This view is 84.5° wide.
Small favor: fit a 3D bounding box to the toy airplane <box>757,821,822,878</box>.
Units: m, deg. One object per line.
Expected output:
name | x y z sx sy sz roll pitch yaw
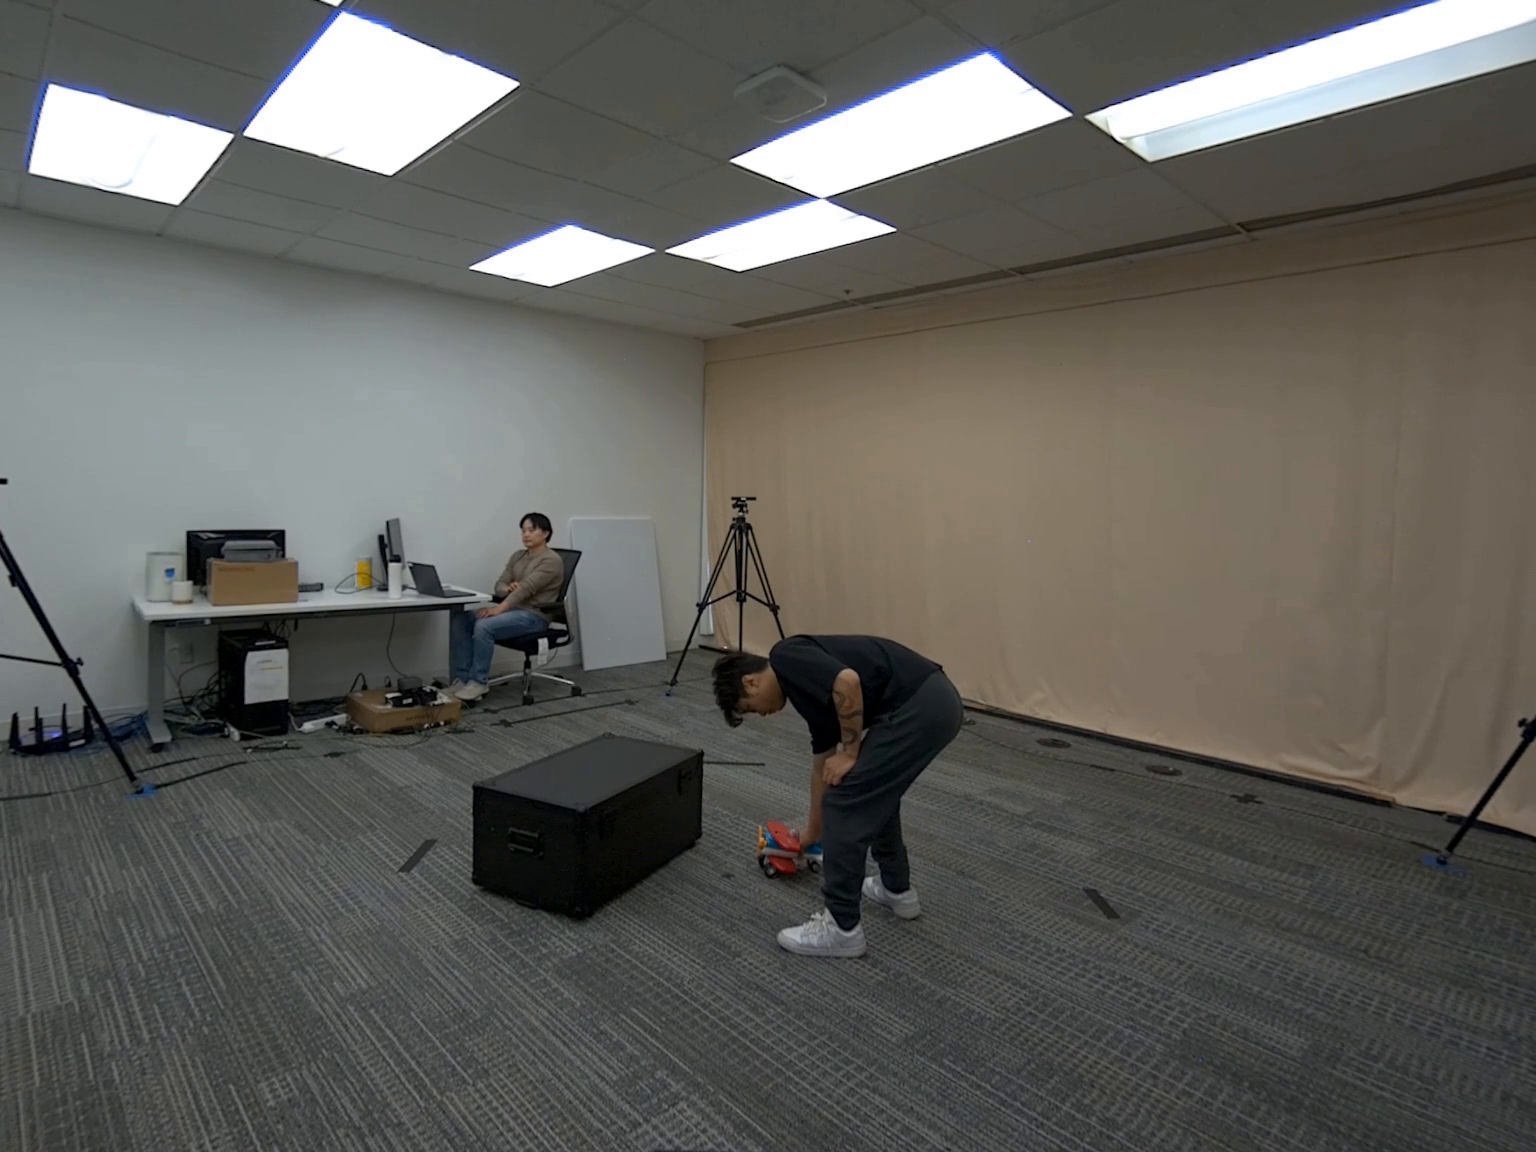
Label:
toy airplane | 0.065 1.029 3.176 0.253 0.156 0.257 -4 6 -42
